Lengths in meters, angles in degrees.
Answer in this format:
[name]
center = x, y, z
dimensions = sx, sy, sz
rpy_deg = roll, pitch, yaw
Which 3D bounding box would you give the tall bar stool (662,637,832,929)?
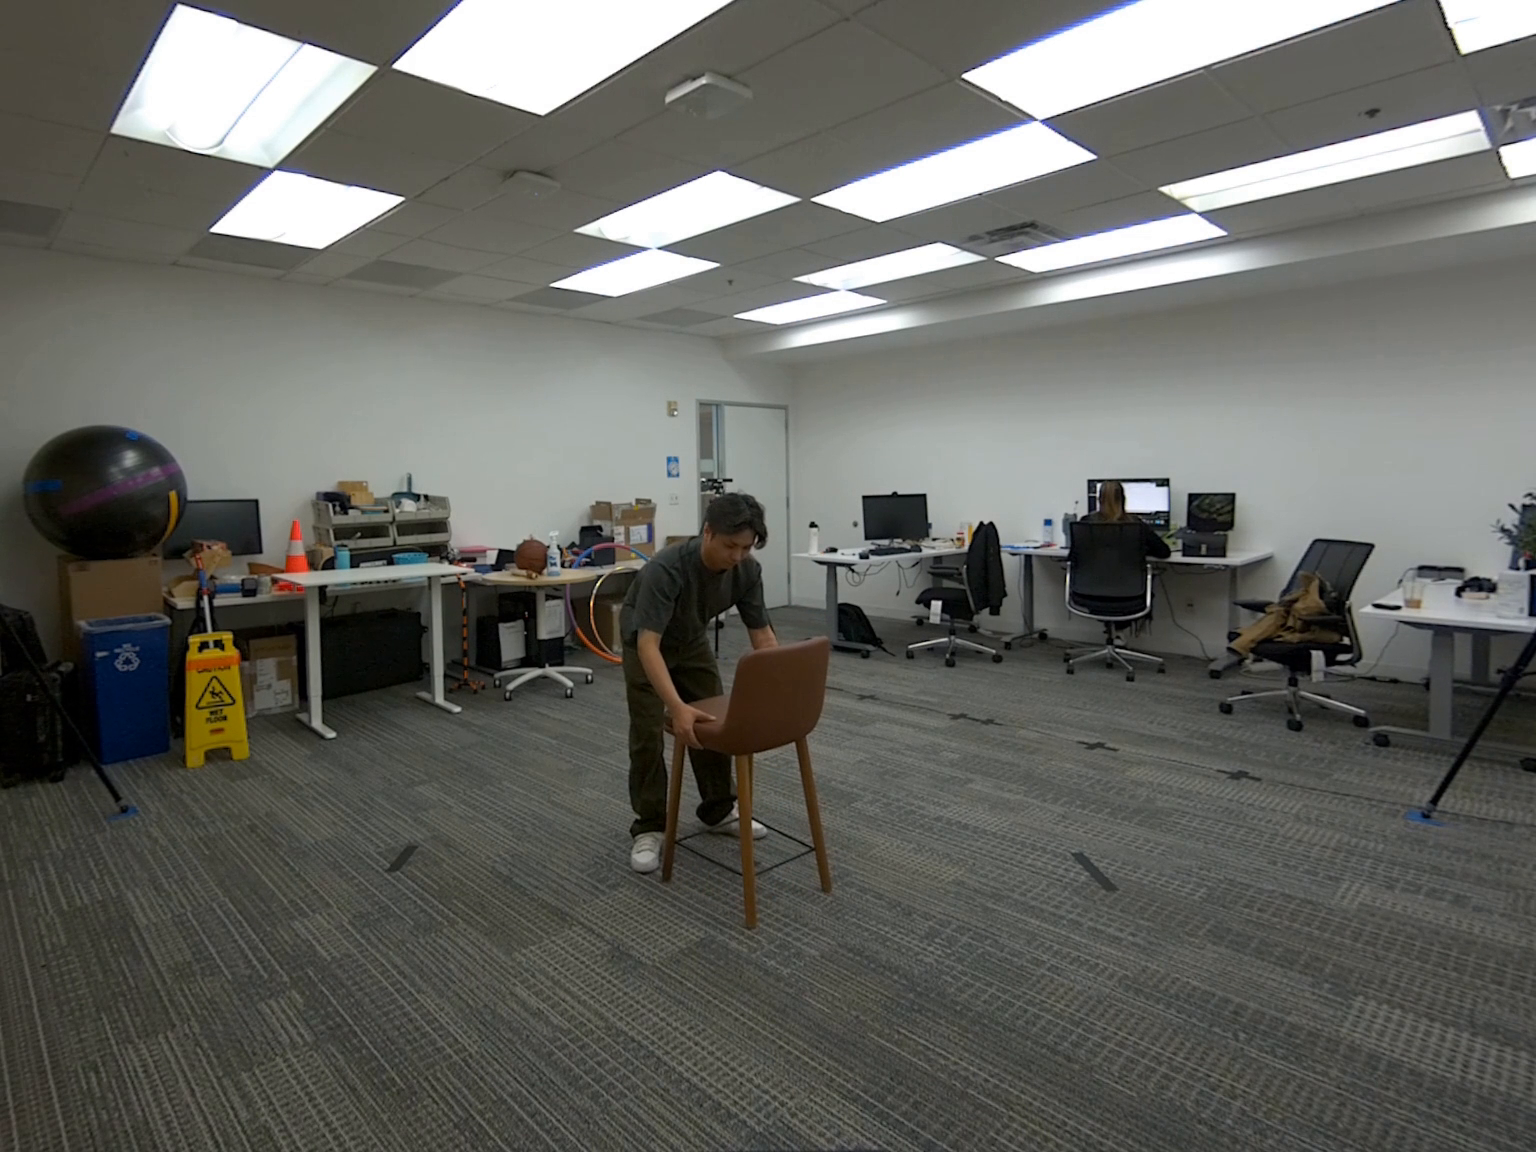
[tall bar stool]
center = -0.070, 0.631, 2.911
dimensions = 0.444, 0.885, 0.482
rpy_deg = -5, 8, -42
